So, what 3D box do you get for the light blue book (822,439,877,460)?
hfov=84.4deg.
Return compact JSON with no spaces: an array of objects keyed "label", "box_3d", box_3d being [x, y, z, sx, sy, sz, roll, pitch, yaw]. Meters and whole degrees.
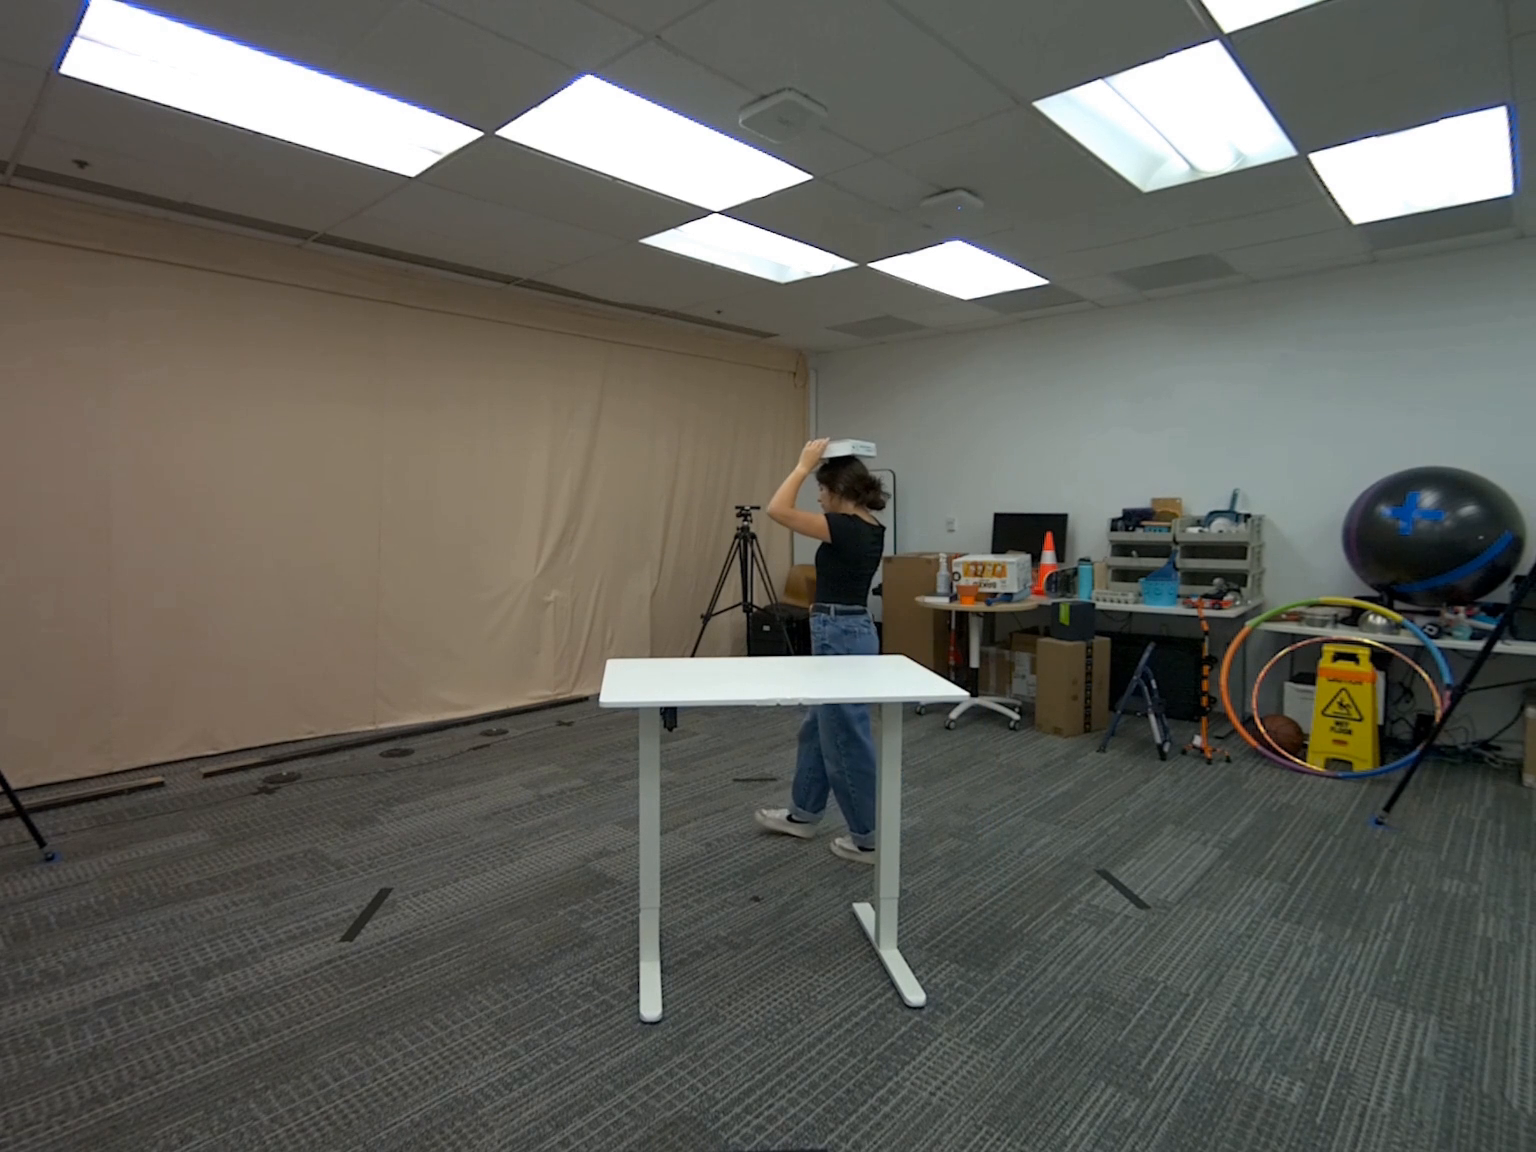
[{"label":"light blue book","box_3d":[0.302,-0.494,3.313,0.196,0.059,0.254,-1,4,28]}]
